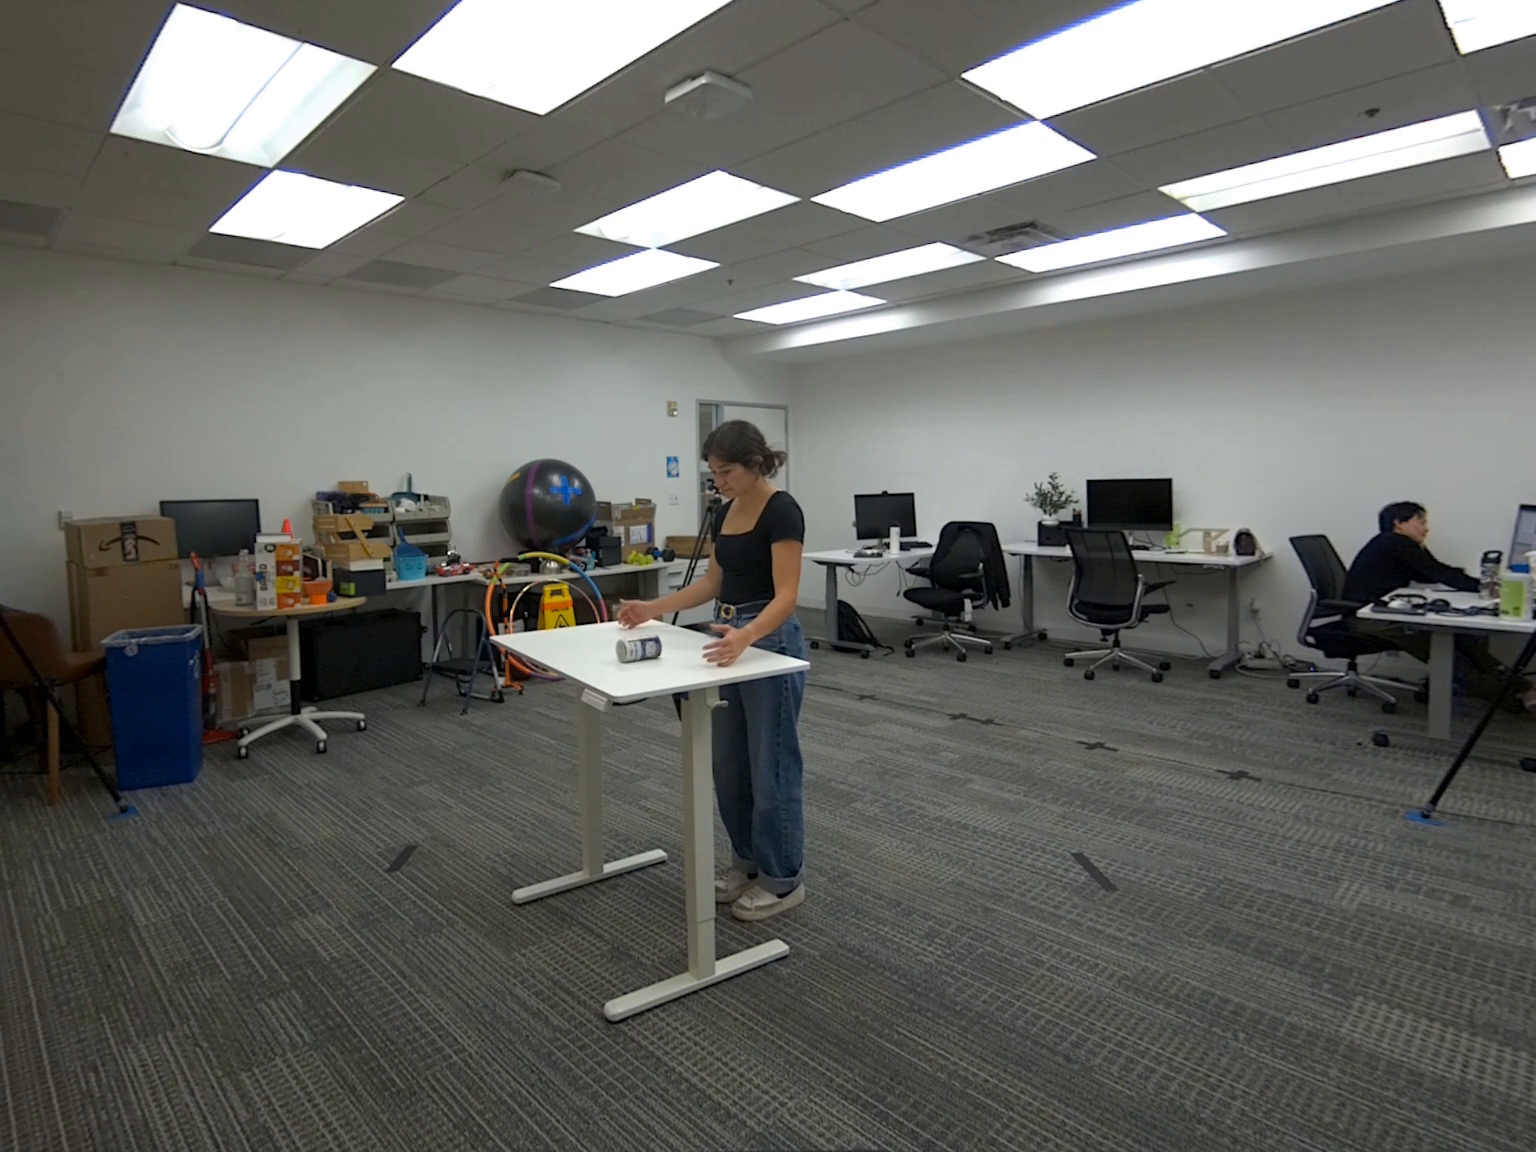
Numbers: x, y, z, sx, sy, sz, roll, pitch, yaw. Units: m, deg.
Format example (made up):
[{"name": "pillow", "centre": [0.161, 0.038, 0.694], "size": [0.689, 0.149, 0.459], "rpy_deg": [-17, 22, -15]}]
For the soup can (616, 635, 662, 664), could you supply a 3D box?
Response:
[{"name": "soup can", "centre": [-0.369, 0.208, 2.467], "size": [0.119, 0.067, 0.069], "rpy_deg": [-3, 5, -28]}]
